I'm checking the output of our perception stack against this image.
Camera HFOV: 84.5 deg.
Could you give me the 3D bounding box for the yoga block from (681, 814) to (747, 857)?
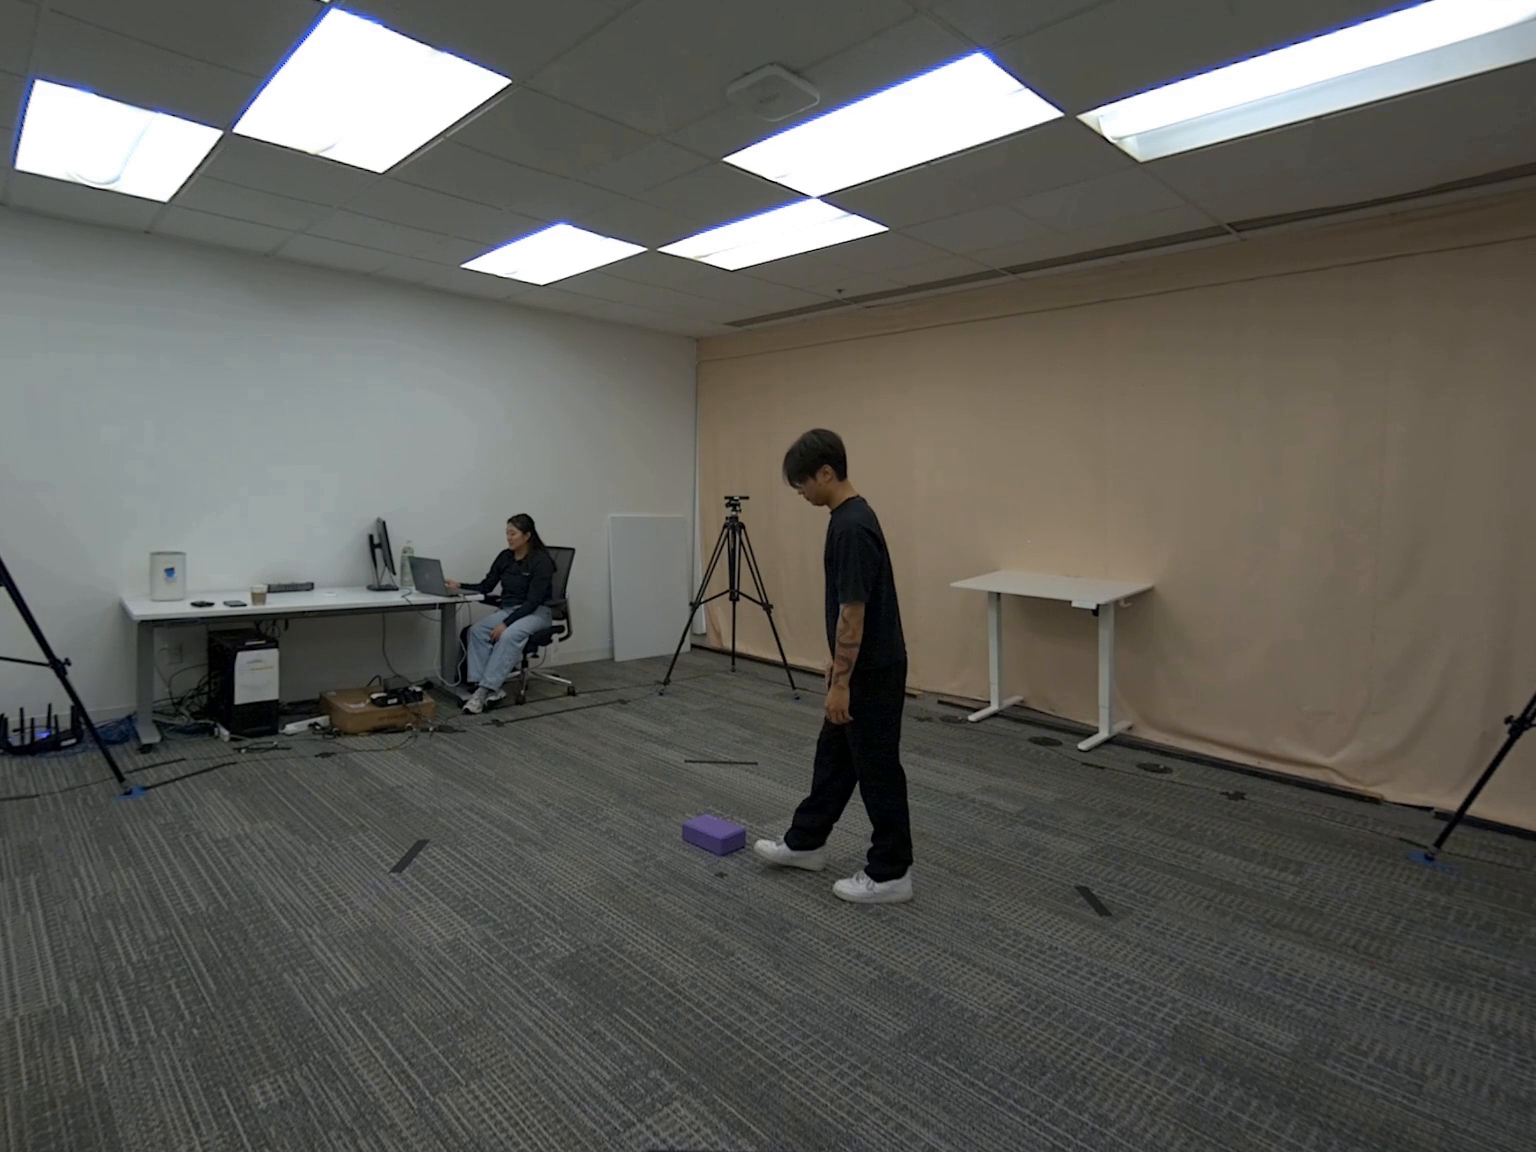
[{"bbox_3d":[-0.225,1.037,3.384,0.235,0.076,0.145,6,6,41],"label":"yoga block"}]
